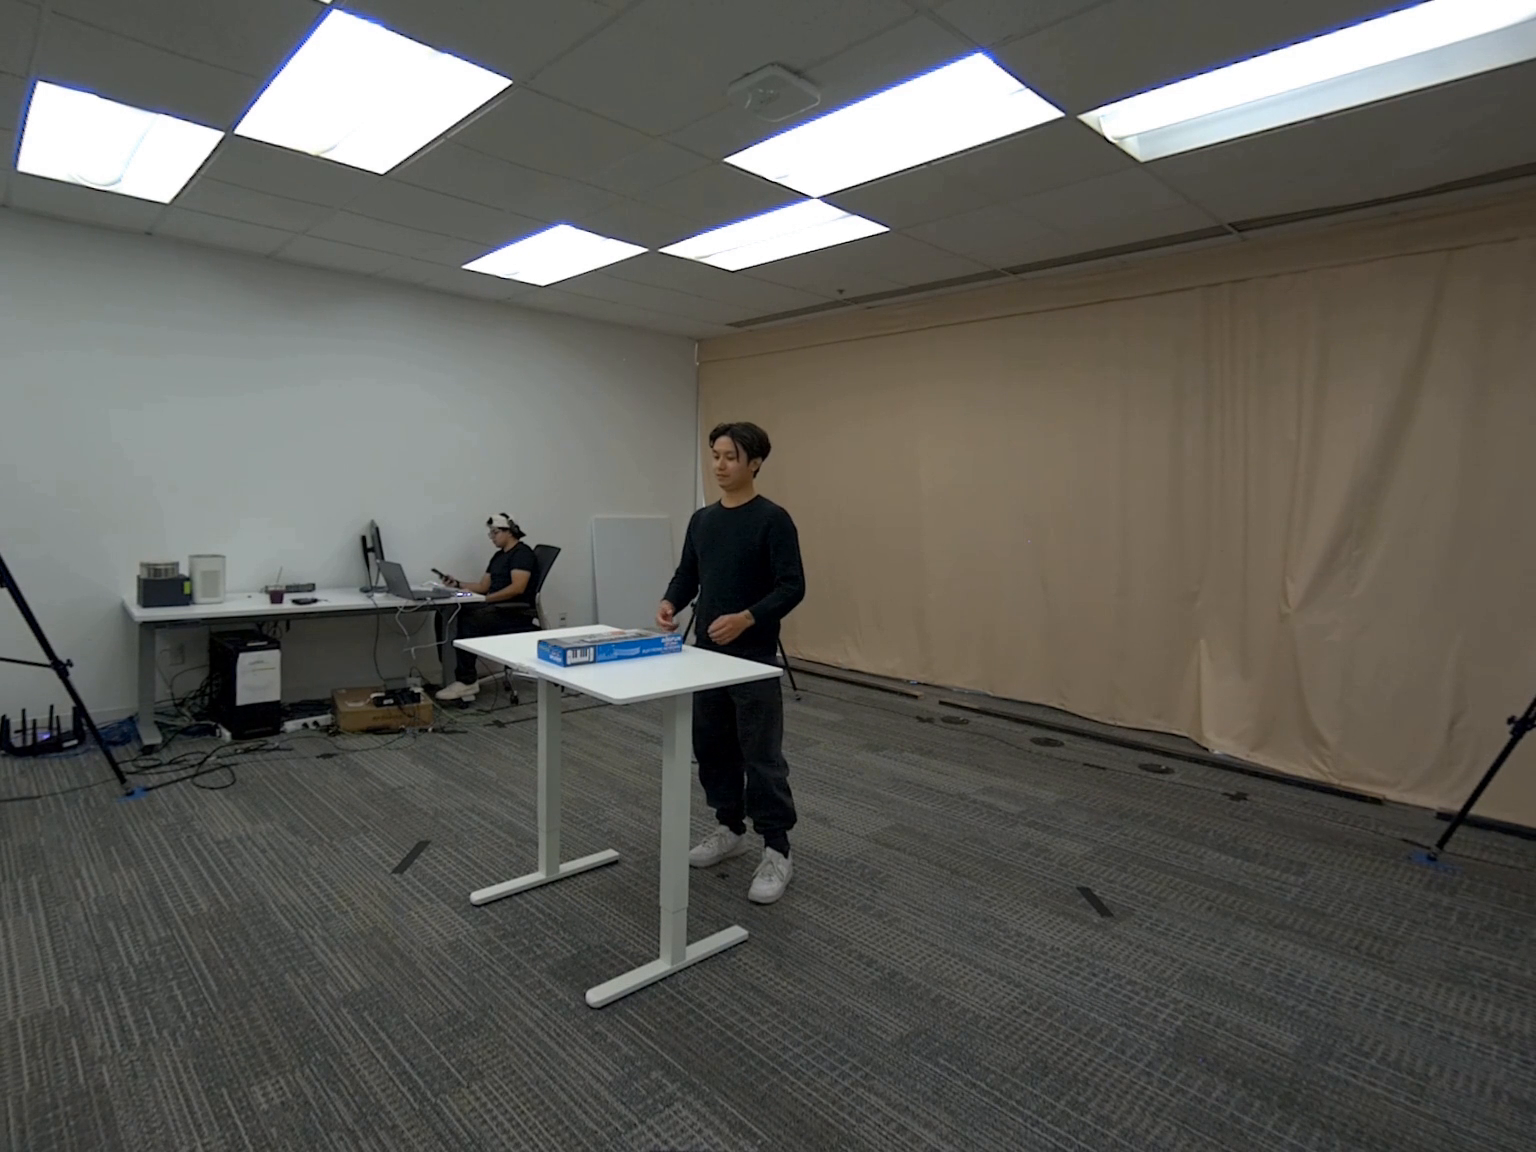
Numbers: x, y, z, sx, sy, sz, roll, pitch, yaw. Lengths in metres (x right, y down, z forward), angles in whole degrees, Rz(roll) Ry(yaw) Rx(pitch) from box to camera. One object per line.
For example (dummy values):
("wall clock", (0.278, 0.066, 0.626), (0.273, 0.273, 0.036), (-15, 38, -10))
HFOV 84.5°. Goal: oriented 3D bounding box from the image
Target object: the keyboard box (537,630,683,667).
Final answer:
("keyboard box", (-0.507, 0.227, 2.678), (0.427, 0.059, 0.180), (-3, 6, -39))
